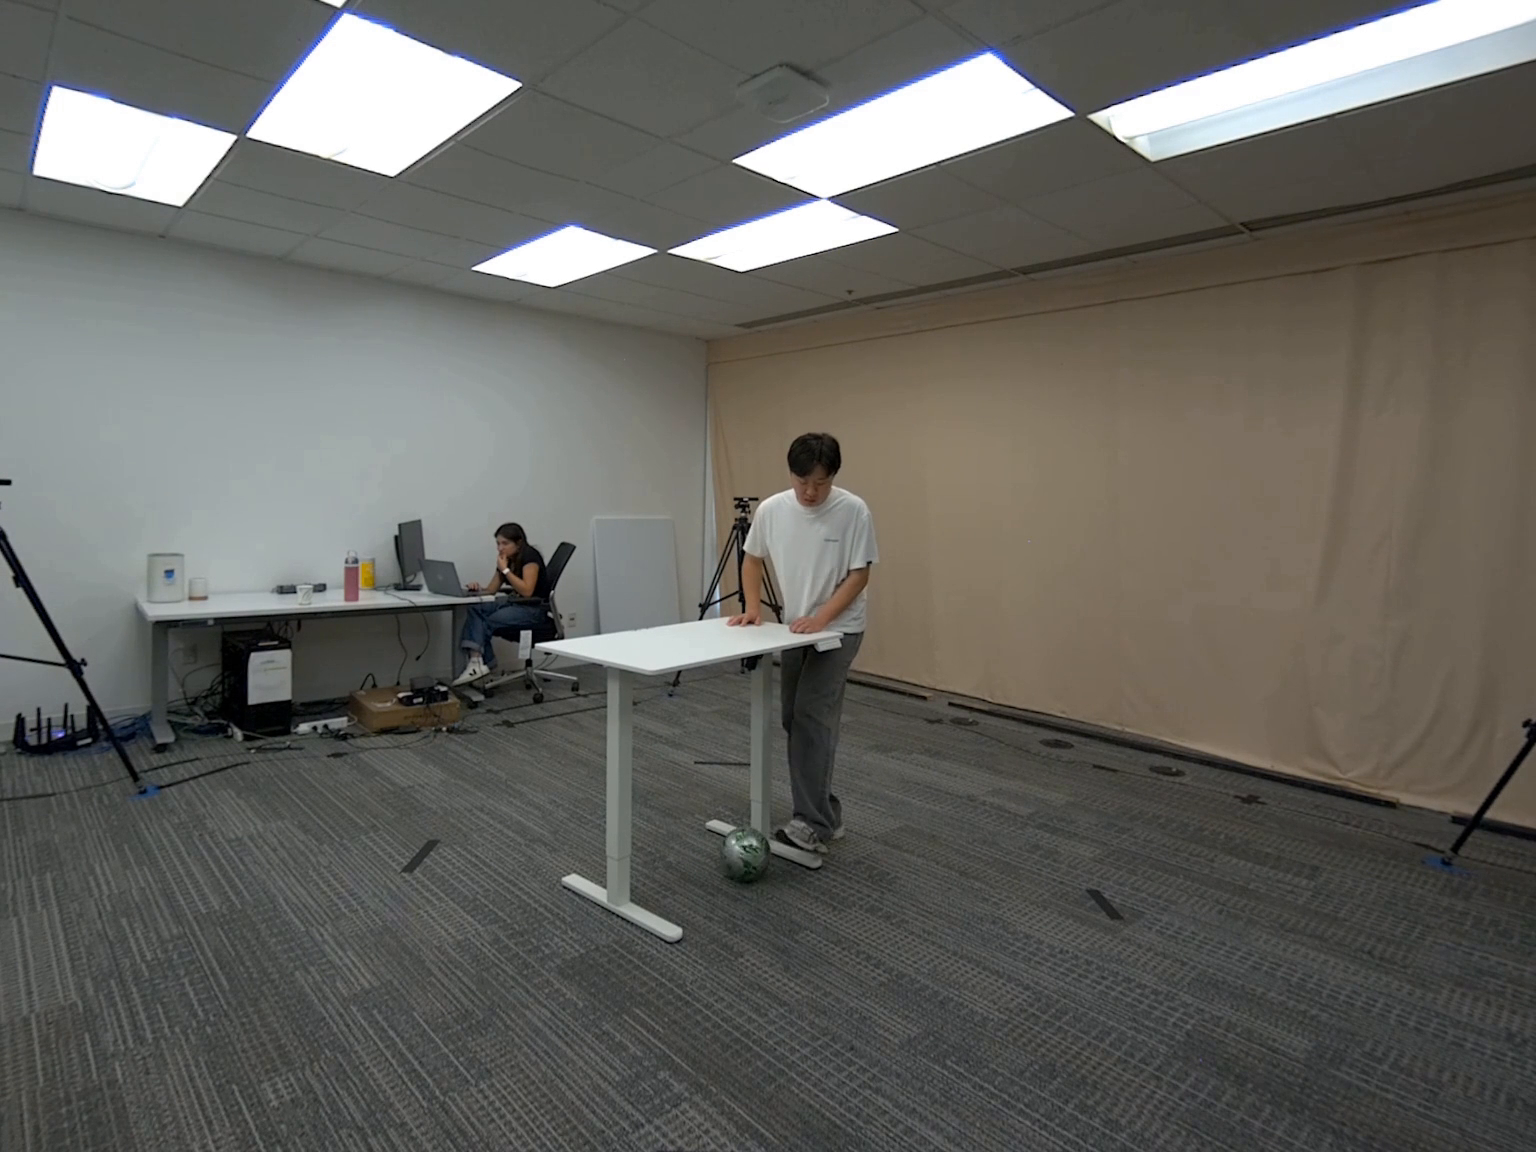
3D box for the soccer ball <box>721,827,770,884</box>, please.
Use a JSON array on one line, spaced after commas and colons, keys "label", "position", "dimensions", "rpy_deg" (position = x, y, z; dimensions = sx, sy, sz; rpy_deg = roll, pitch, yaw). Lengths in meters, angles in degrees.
[{"label": "soccer ball", "position": [-0.089, 1.020, 3.081], "dimensions": [0.187, 0.187, 0.188], "rpy_deg": [1, 4, -1]}]
